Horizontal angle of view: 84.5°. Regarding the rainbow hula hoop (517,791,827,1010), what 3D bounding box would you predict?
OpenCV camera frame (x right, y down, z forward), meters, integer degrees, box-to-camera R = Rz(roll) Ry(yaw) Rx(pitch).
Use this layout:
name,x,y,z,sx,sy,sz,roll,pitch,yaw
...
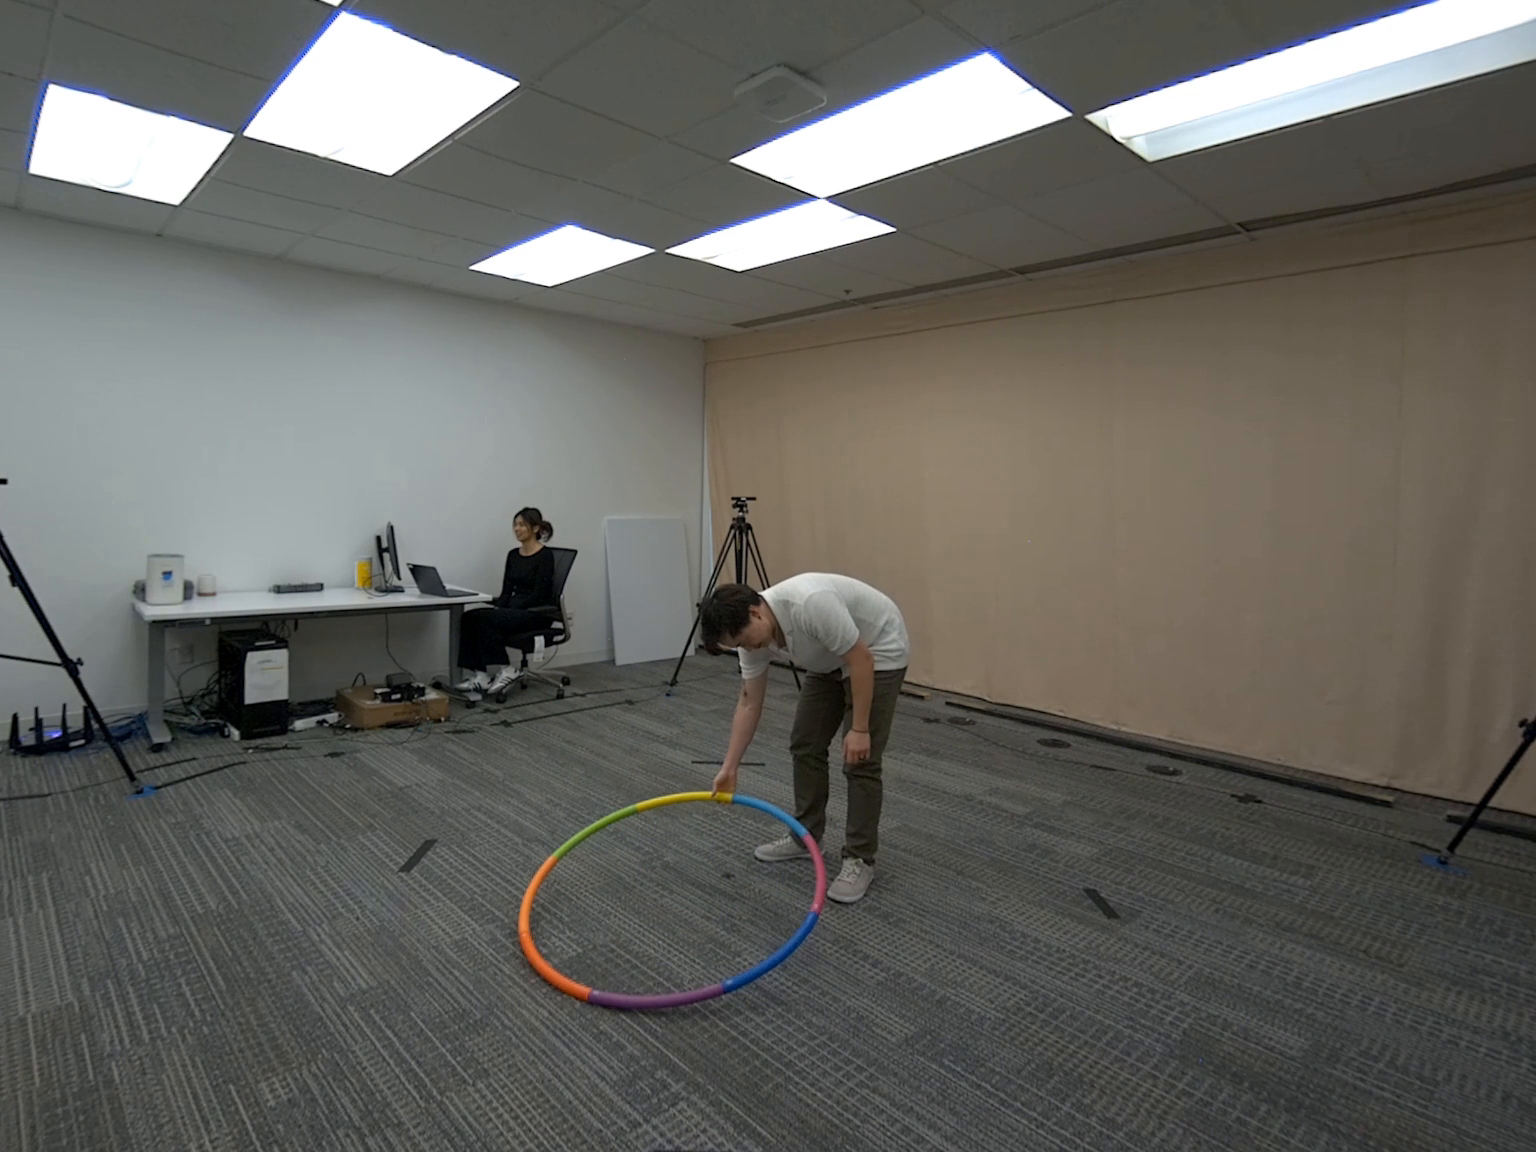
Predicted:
name,x,y,z,sx,sy,sz,roll,pitch,yaw
rainbow hula hoop,-0.311,0.994,2.709,0.979,0.035,0.992,-7,19,1
